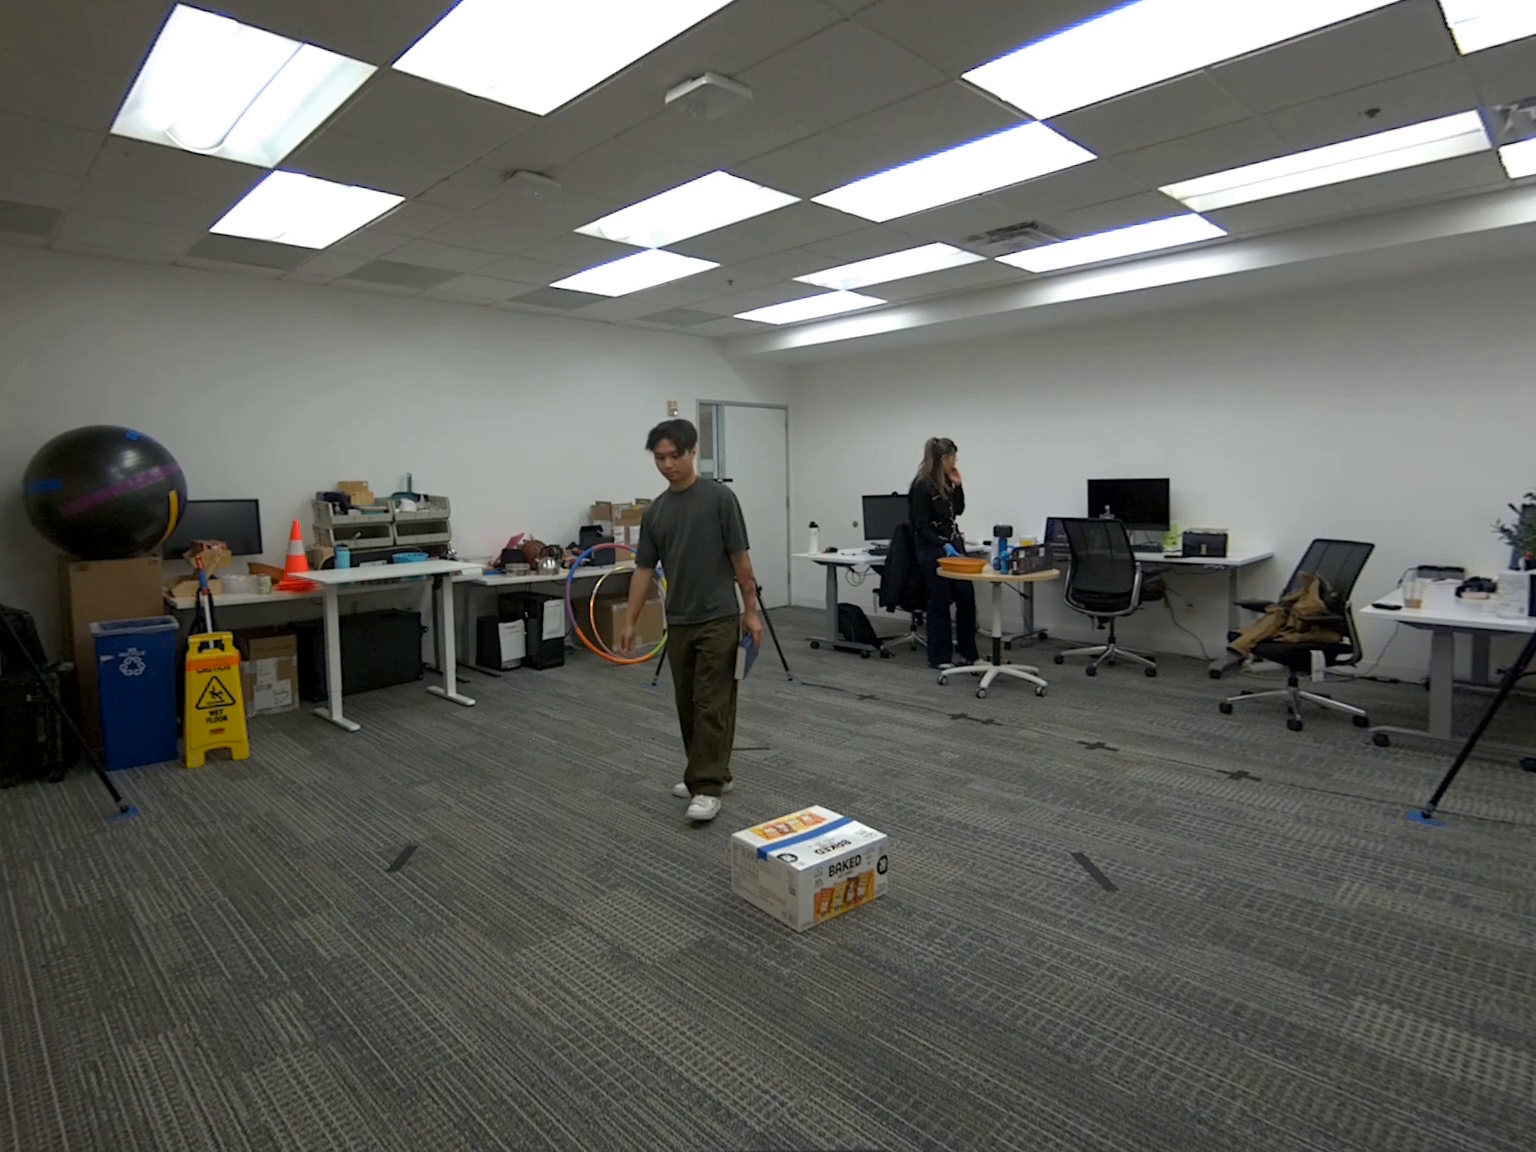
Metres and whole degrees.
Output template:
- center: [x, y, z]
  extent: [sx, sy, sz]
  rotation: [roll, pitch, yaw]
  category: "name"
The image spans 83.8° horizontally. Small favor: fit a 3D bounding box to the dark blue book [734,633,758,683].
- center: [-0.084, 0.319, 3.677]
  extent: [0.046, 0.161, 0.246]
  rotation: [10, 22, 9]
  category: "dark blue book"
